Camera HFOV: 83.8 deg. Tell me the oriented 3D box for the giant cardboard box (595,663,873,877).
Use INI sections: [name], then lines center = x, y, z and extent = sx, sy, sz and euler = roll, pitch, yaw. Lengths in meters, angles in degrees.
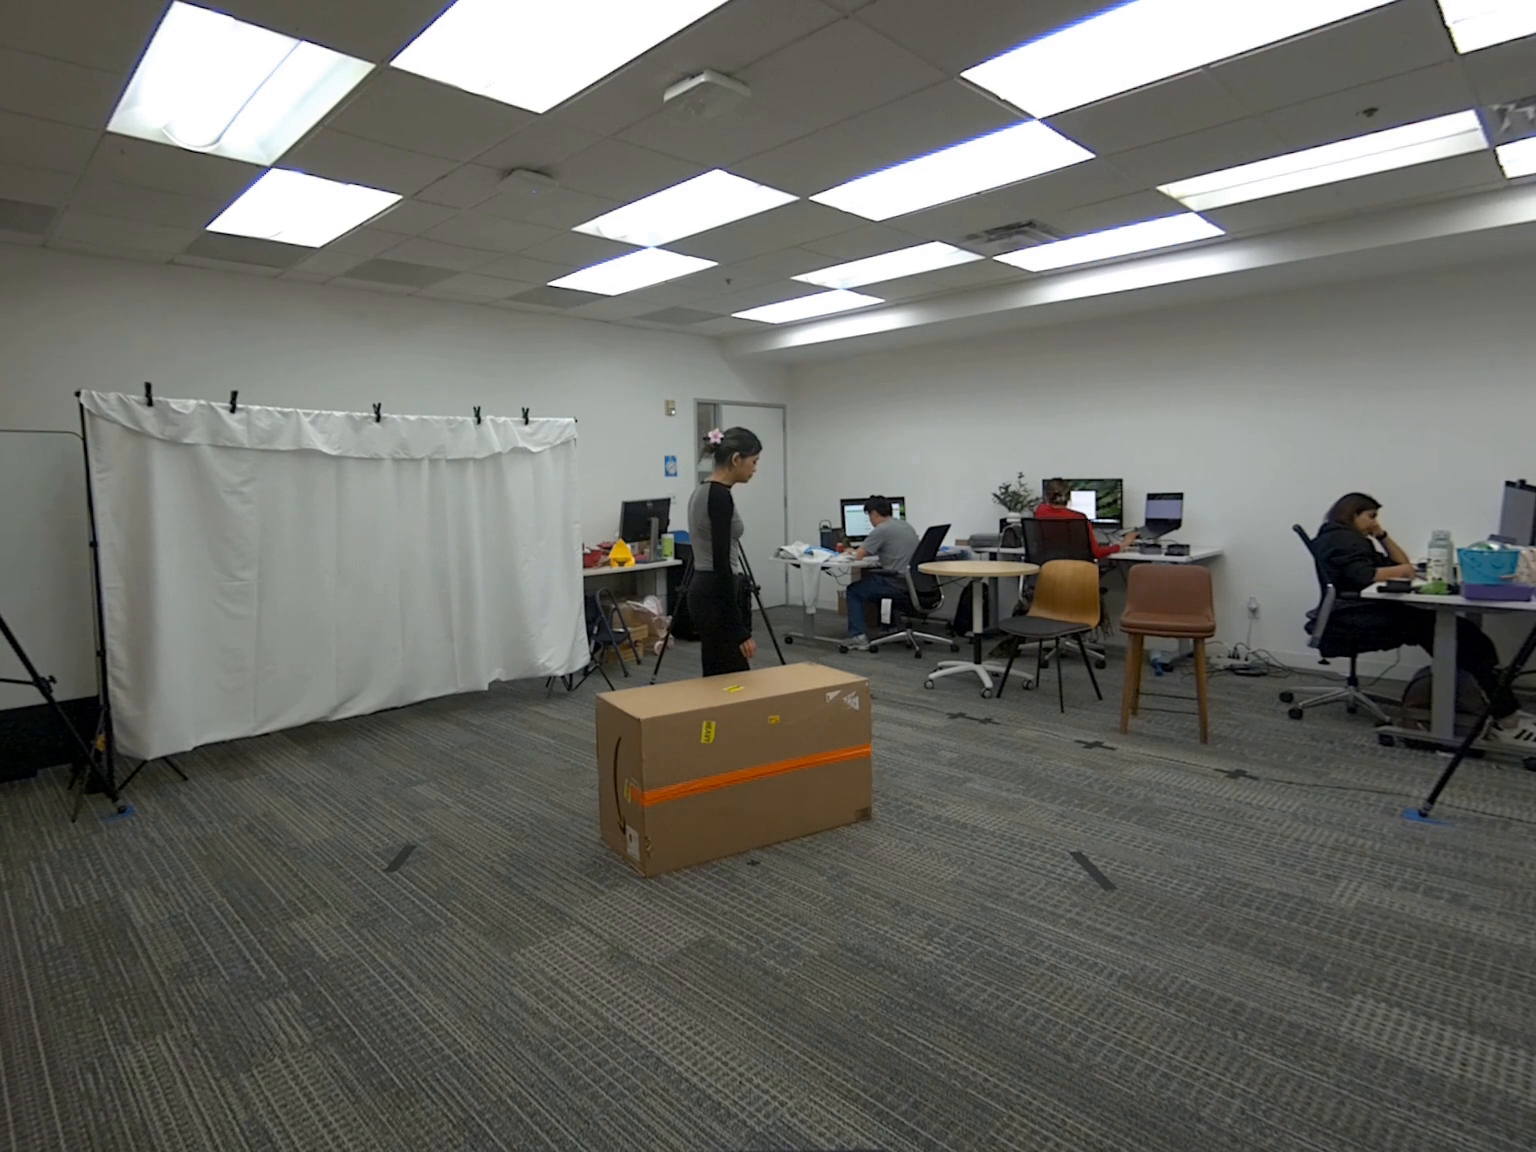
[giant cardboard box]
center = -0.121, 0.722, 3.399
extent = 1.002, 0.575, 0.438
euler = -4, 5, -30
